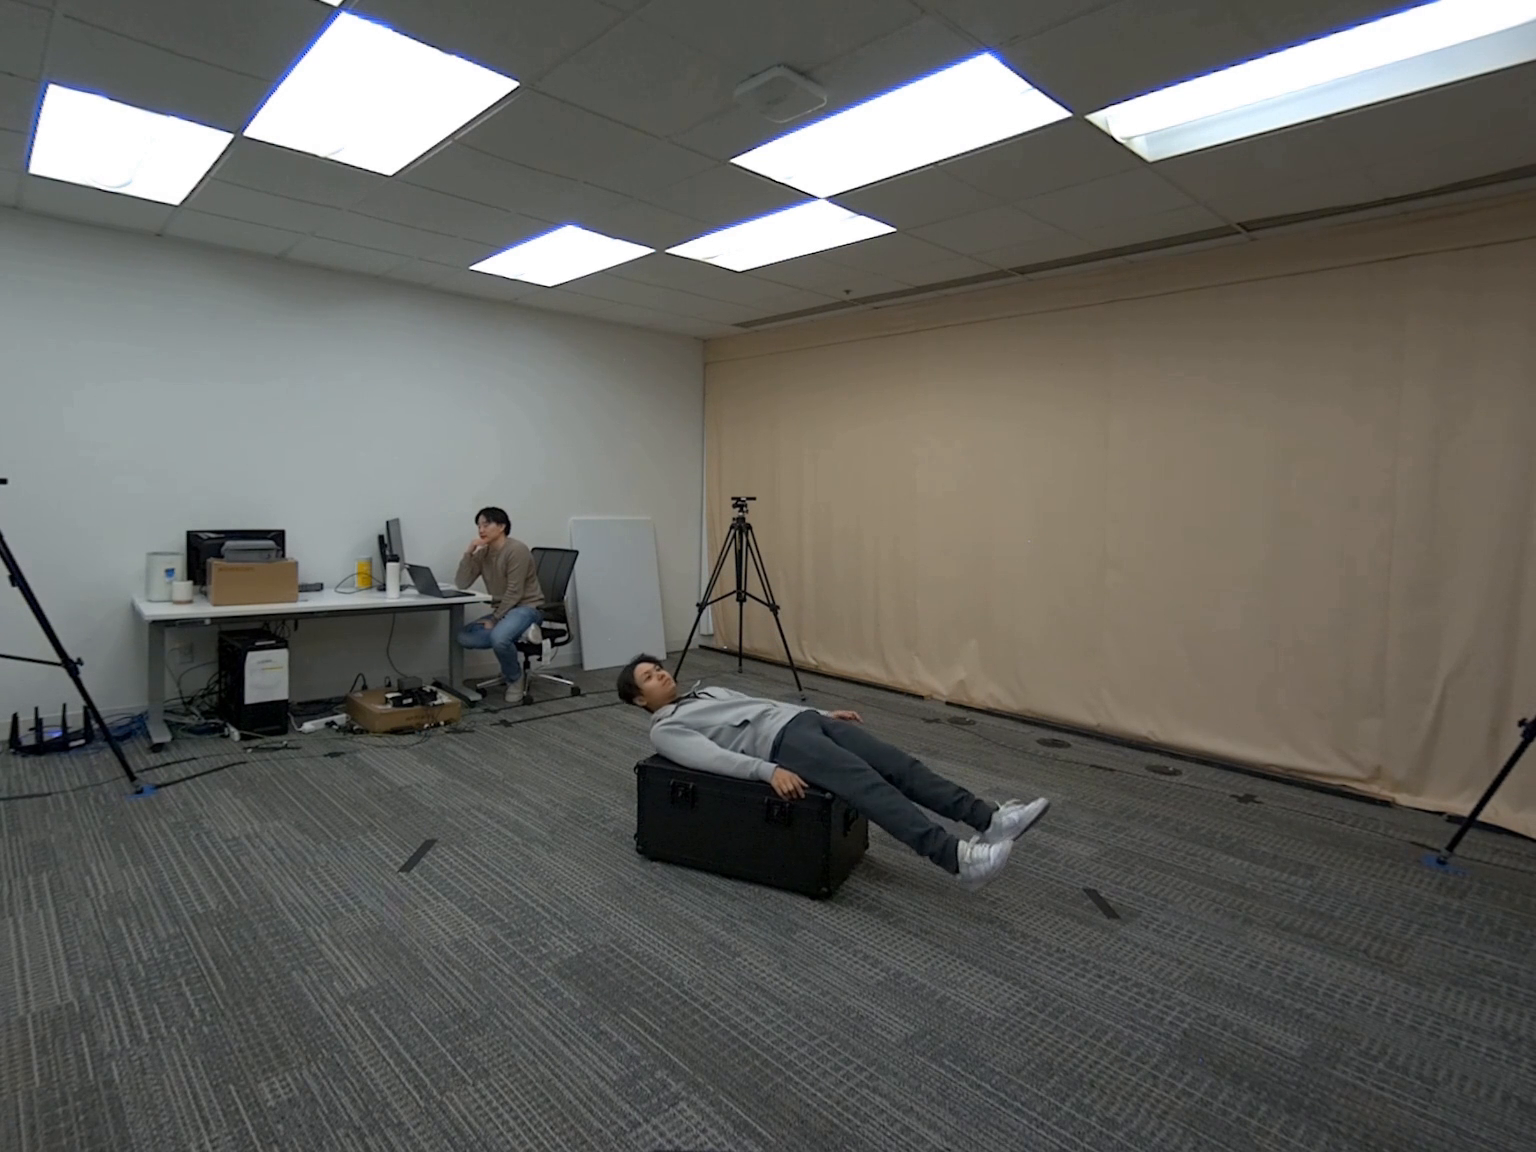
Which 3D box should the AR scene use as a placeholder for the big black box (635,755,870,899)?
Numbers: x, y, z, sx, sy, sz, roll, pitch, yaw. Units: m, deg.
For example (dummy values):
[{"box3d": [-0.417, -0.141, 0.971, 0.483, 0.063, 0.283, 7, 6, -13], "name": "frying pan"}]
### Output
[{"box3d": [-0.033, 0.913, 3.253, 0.878, 0.395, 0.513, 2, 5, 25], "name": "big black box"}]
